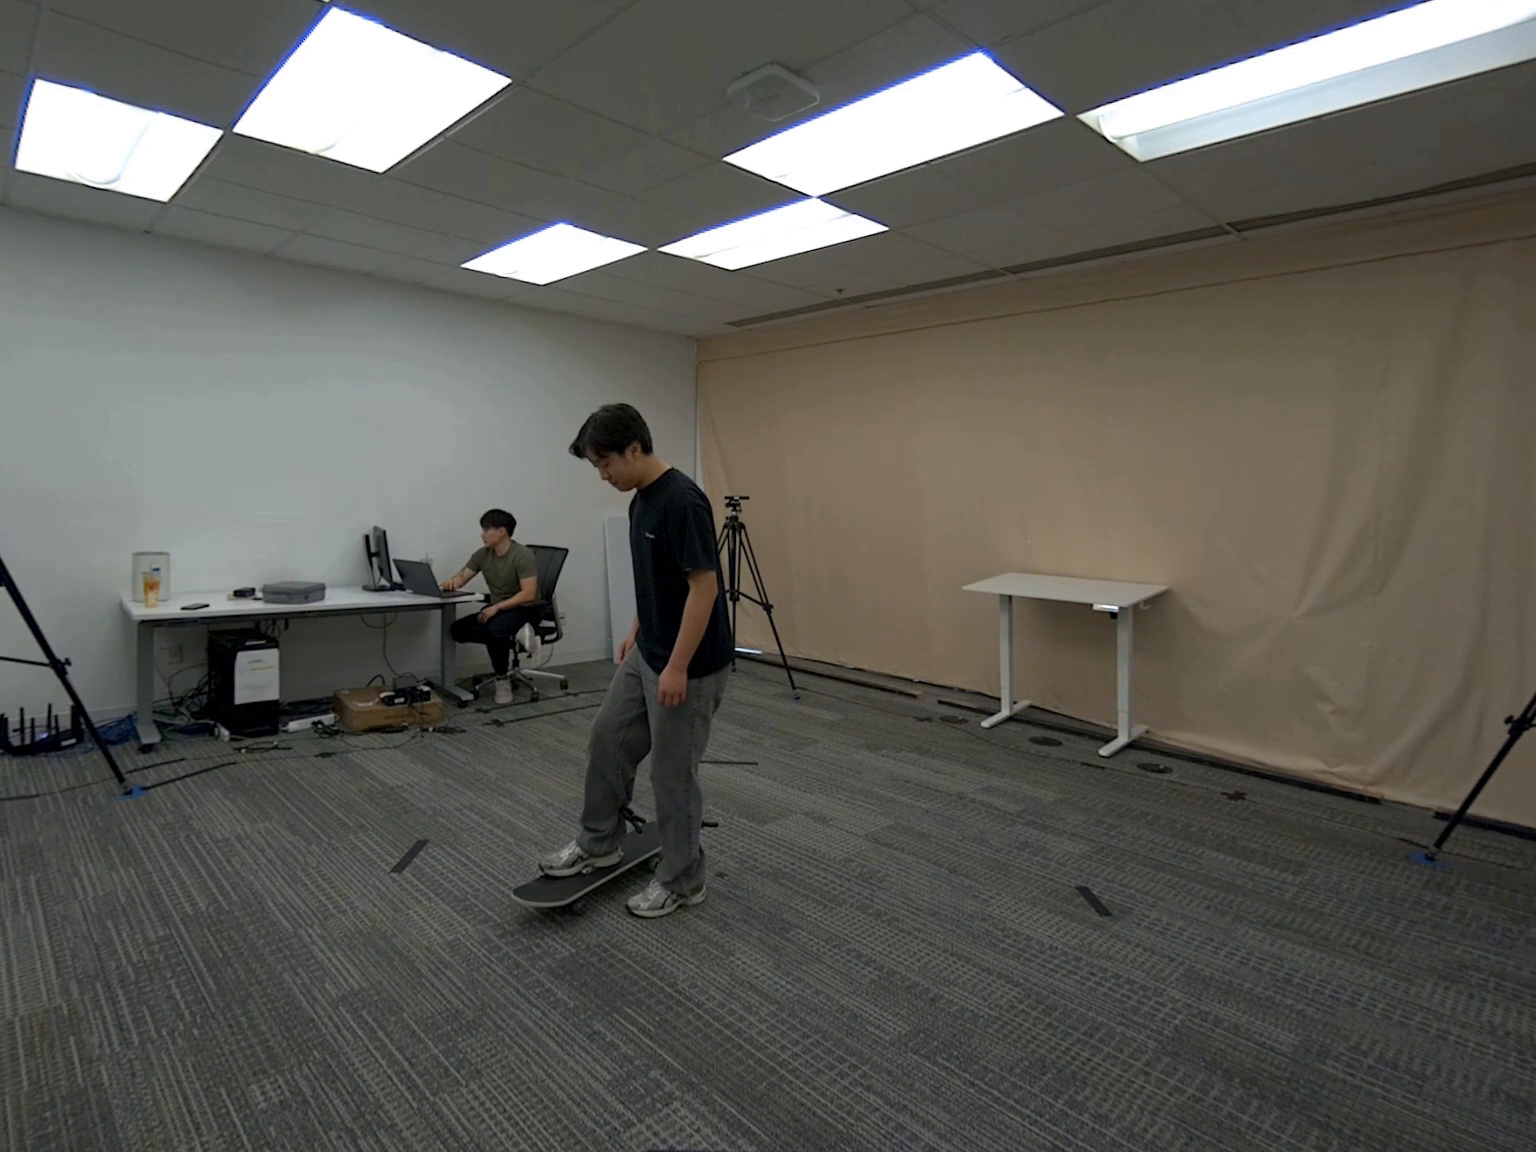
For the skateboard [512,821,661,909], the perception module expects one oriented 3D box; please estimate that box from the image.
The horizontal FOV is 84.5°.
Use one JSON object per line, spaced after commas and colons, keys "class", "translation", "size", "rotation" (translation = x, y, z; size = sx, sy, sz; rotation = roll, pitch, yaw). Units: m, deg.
{"class": "skateboard", "translation": [-0.594, 1.050, 2.997], "size": [0.197, 0.110, 0.770], "rotation": [3, 5, 29]}
